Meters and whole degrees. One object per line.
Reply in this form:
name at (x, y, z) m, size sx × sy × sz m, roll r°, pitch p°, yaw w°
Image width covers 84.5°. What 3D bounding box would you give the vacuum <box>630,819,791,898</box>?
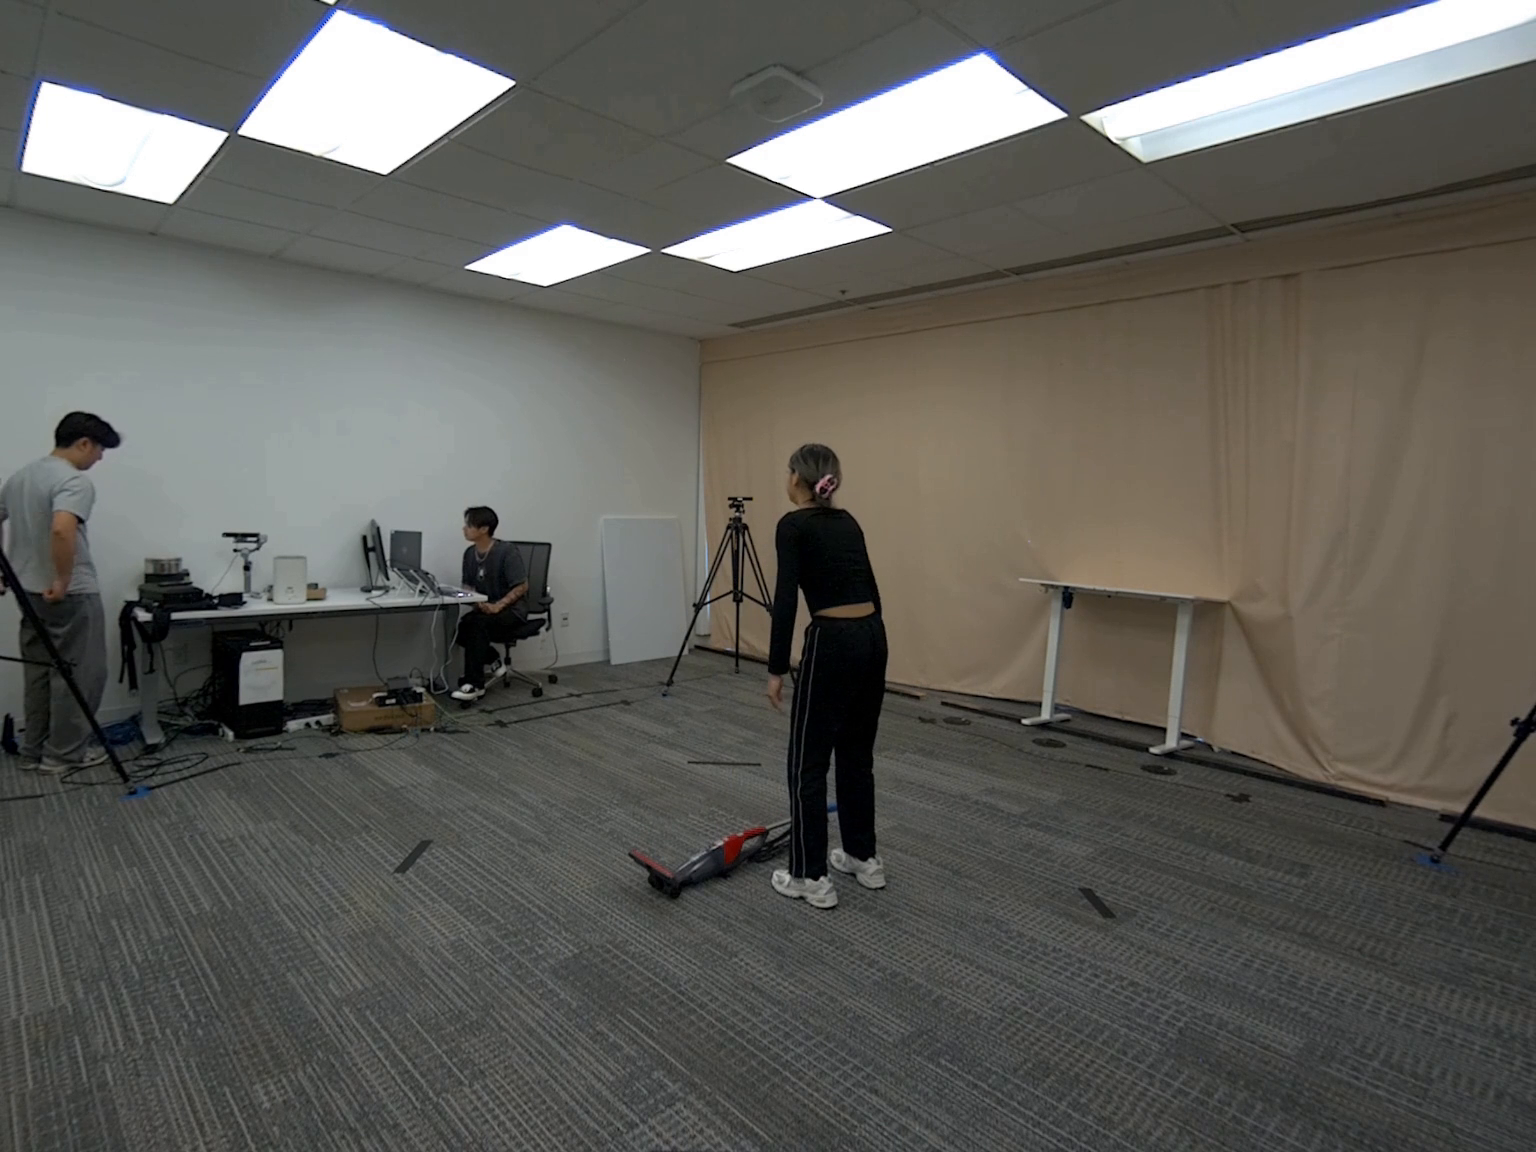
vacuum at (-0.026, 1.034, 3.281) m, size 1.025 × 0.143 × 0.260 m, roll -2°, pitch 11°, yaw -44°
